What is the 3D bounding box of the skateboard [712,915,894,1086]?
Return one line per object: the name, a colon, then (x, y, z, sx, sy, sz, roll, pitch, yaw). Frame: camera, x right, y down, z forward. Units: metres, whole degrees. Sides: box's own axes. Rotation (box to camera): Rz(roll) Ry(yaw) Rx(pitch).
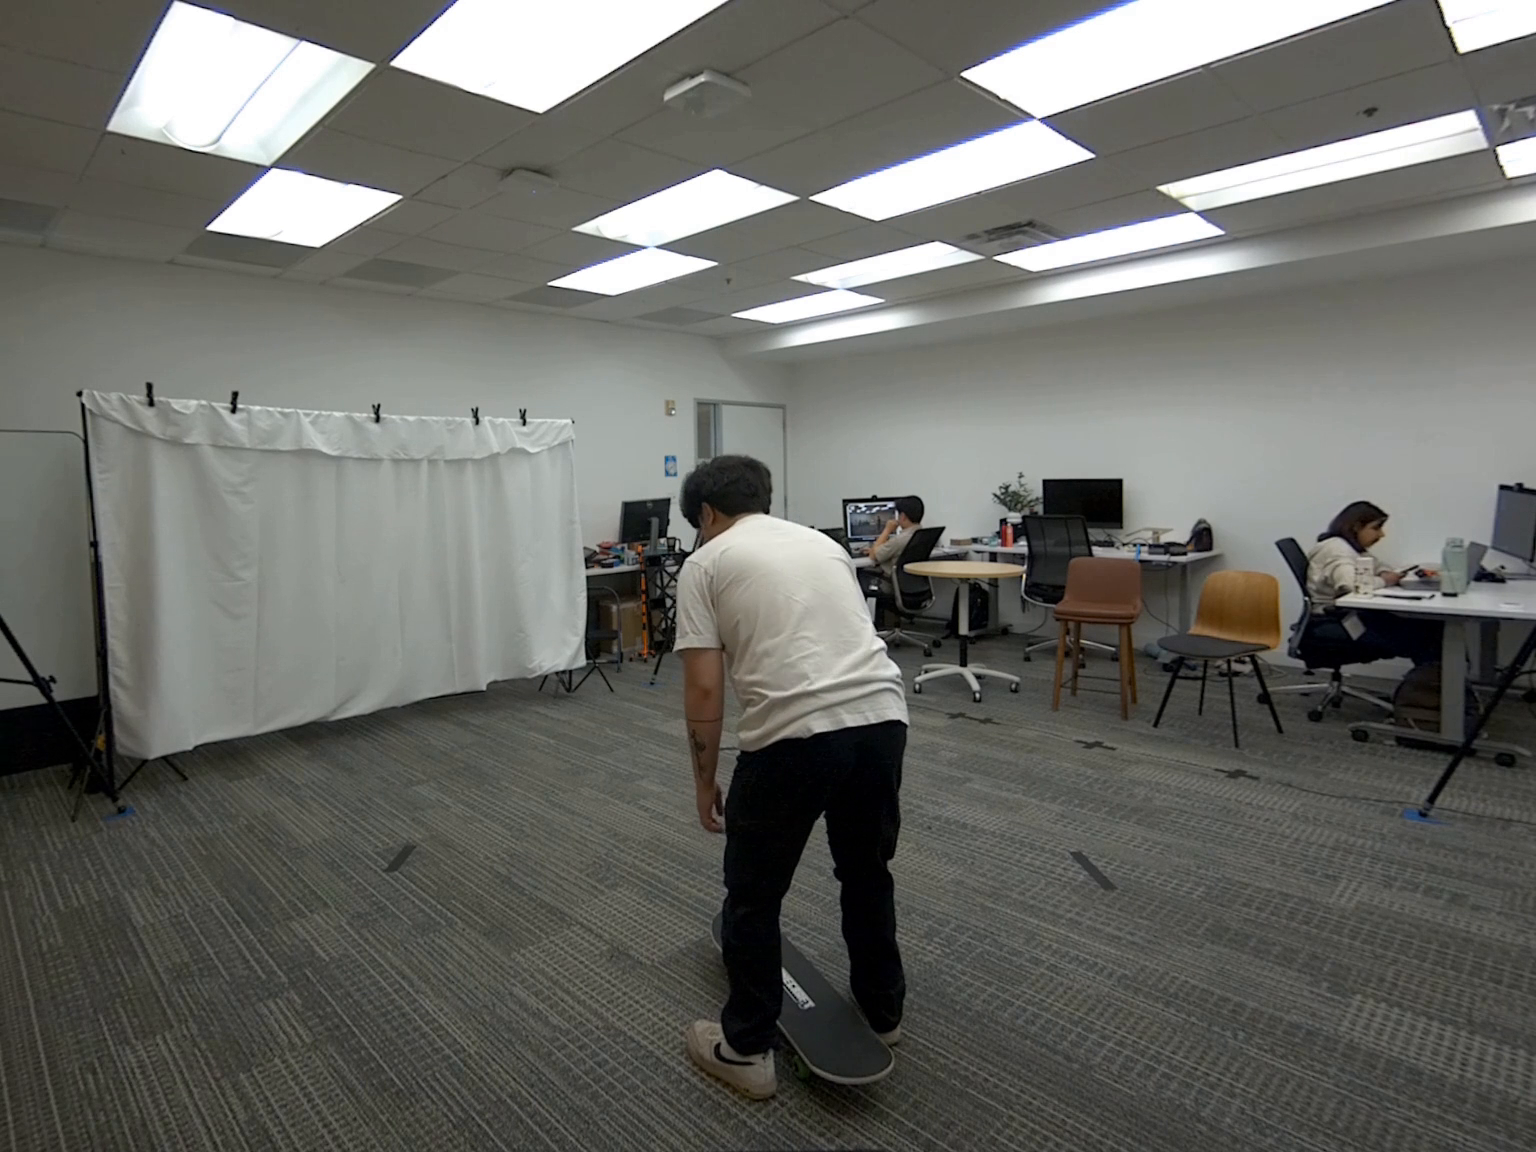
skateboard: (0.073, 1.097, 2.198, 0.189, 0.110, 0.806, -3, 7, -26)
